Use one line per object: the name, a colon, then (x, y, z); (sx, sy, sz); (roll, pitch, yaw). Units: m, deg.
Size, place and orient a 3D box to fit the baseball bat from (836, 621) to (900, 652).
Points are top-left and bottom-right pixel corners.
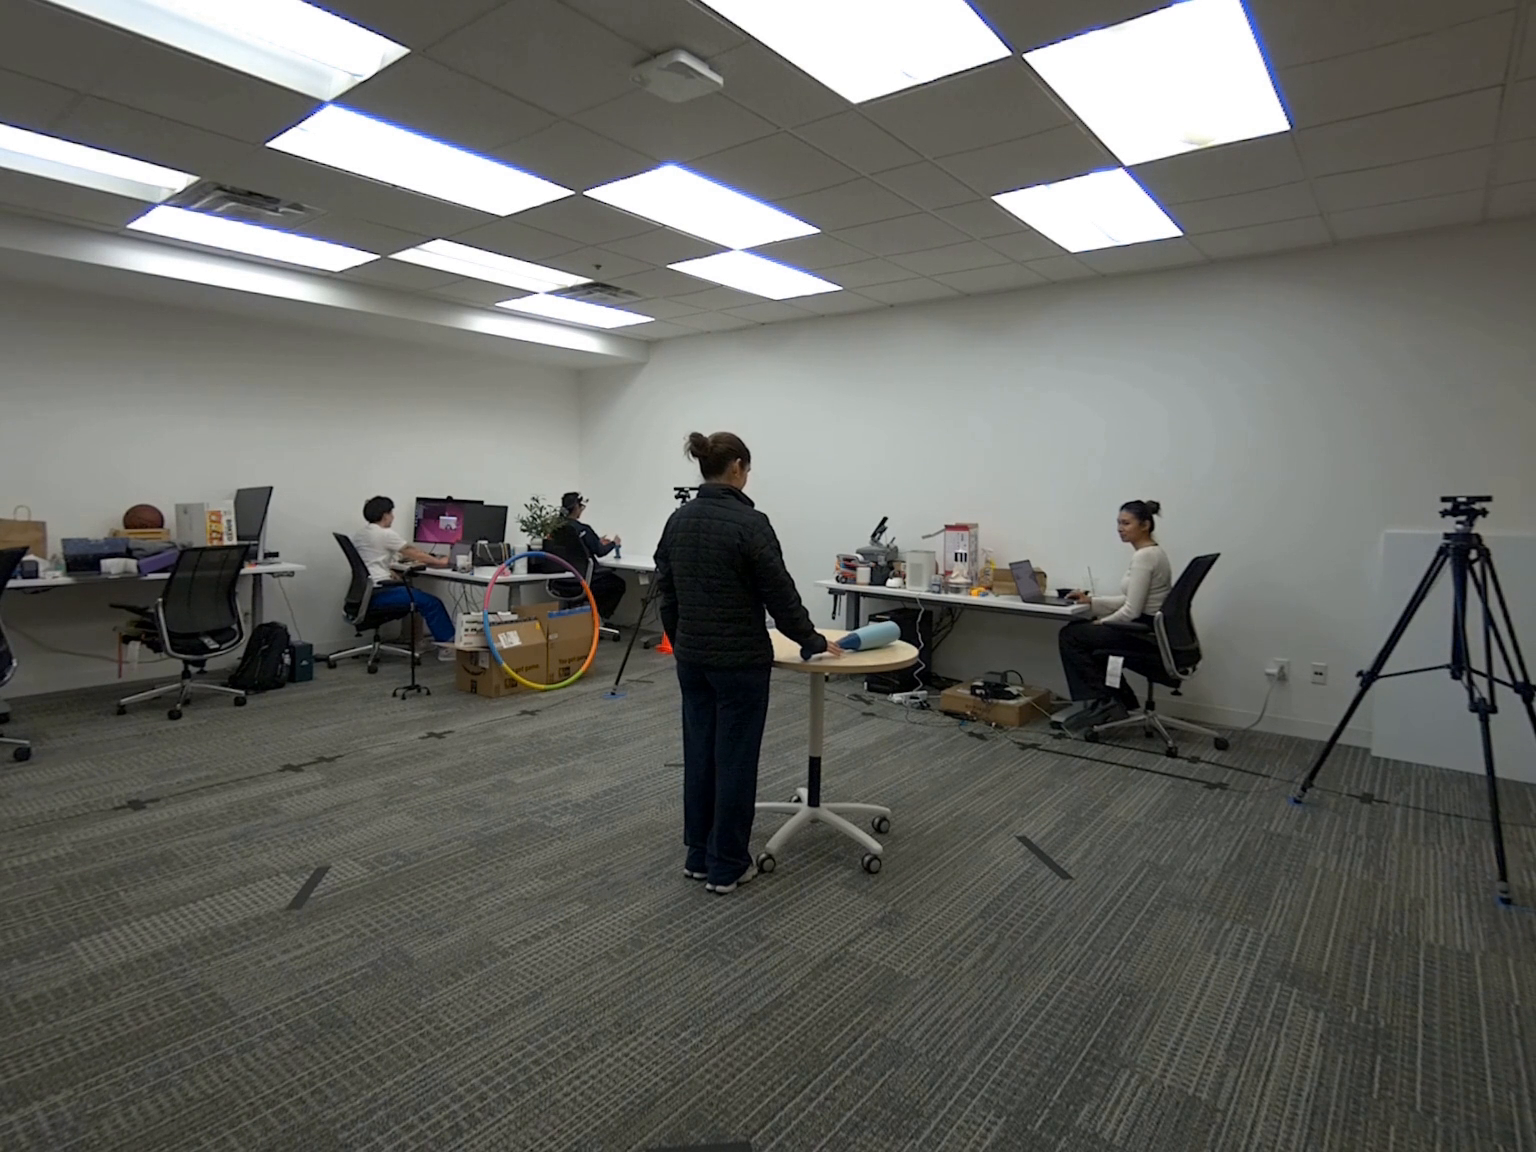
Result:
baseball bat: (0.328, 0.251, 3.224); (0.092, 0.088, 0.528); (5, 10, 44)
